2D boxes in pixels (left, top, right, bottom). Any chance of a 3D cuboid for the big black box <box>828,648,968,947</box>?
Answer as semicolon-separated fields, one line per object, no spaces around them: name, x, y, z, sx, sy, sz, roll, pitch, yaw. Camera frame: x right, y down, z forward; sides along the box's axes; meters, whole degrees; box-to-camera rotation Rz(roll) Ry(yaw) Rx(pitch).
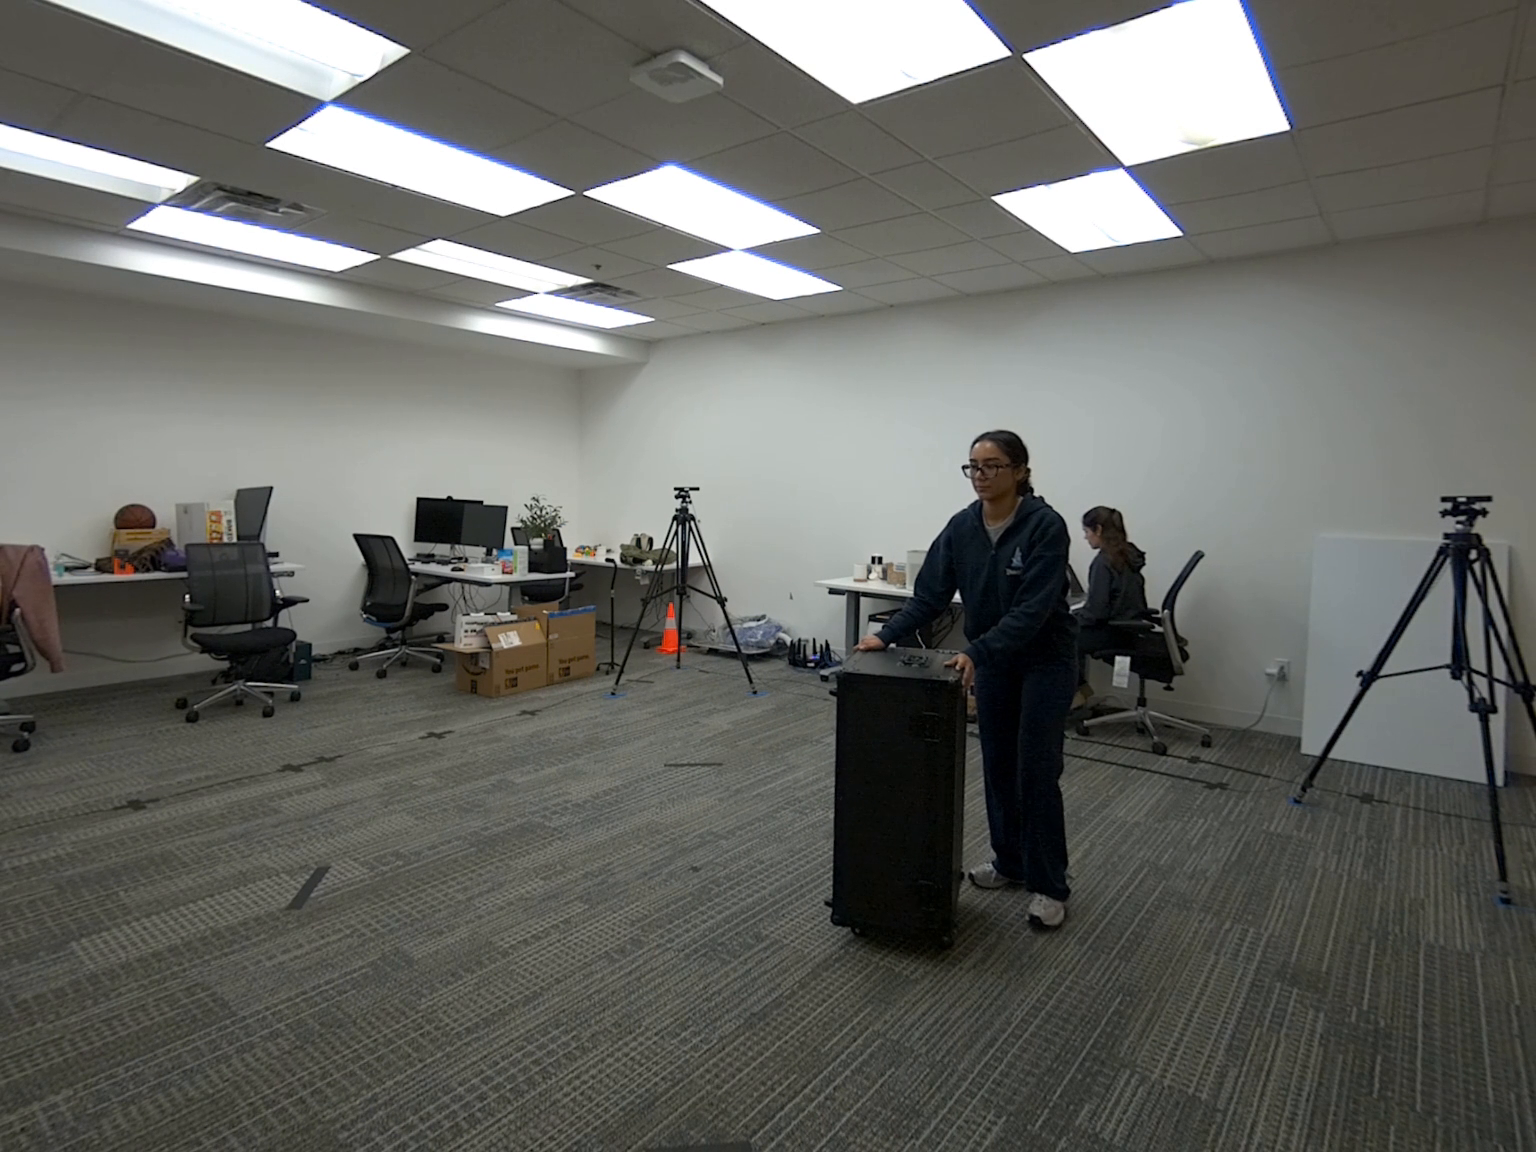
big black box;0.414;0.695;2.724;0.404;0.859;0.512;0;3;18
